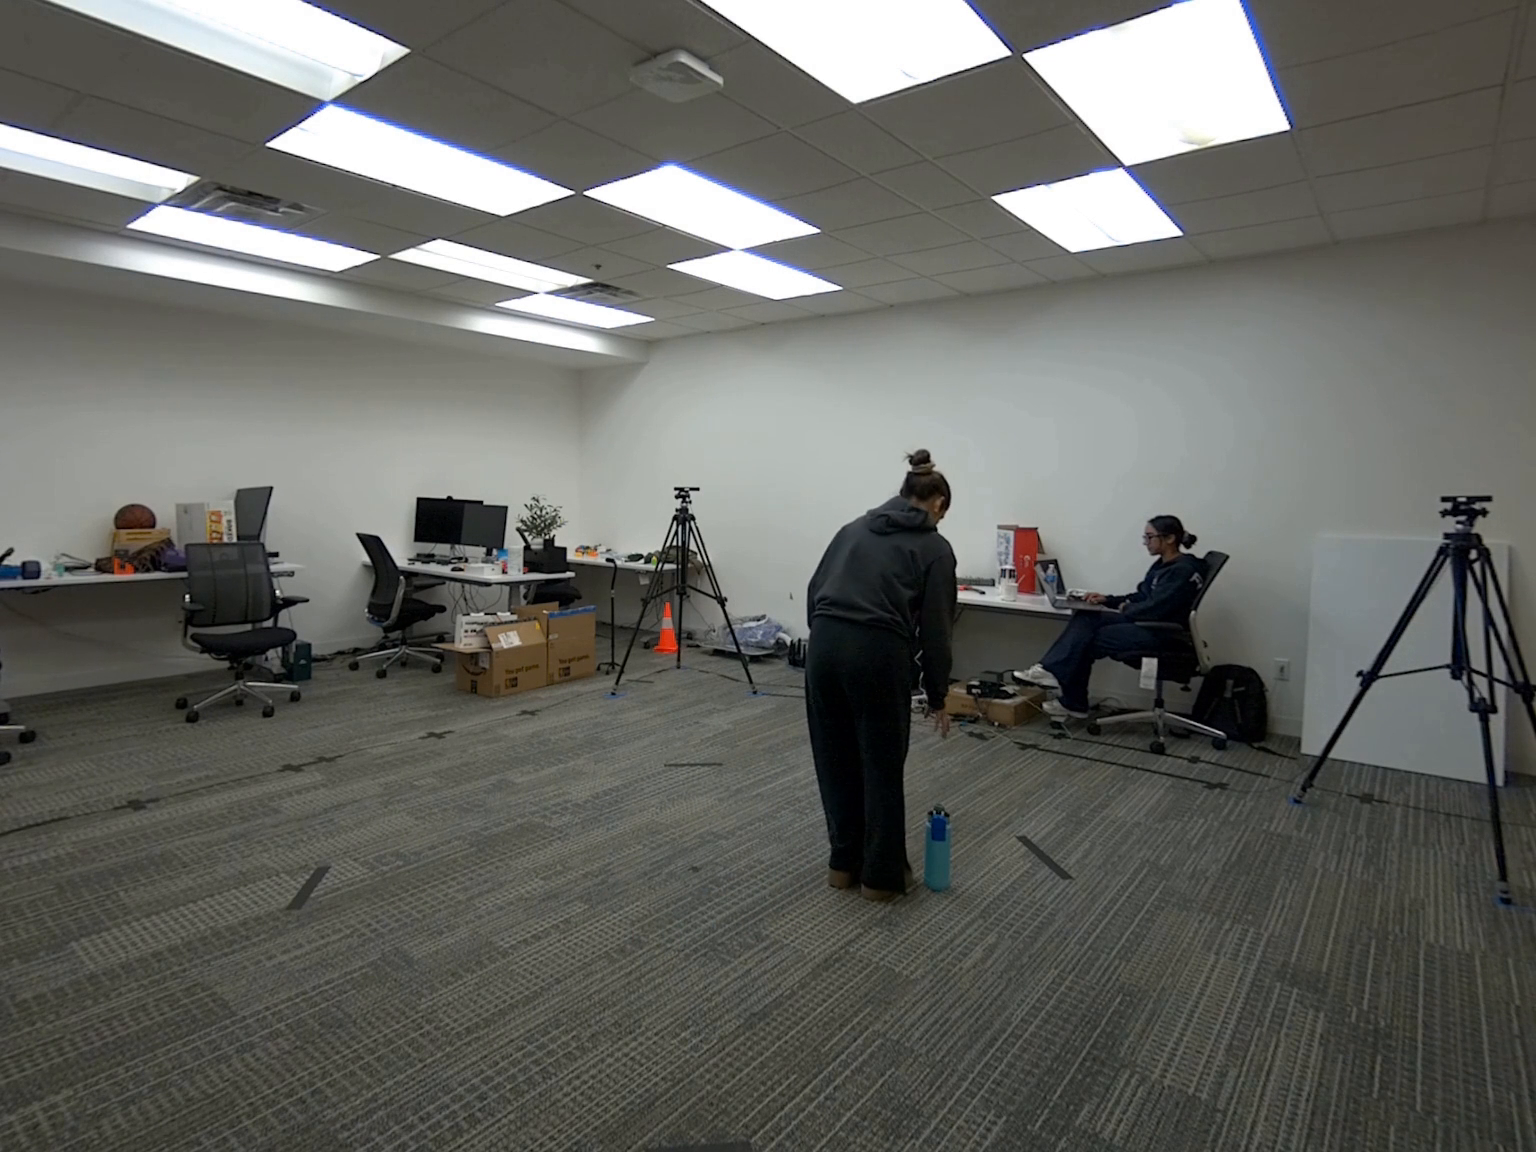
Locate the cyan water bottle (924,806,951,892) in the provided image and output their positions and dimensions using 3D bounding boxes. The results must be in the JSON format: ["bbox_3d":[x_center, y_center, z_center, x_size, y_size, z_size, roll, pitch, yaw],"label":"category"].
[{"bbox_3d":[0.606,0.954,3.012,0.092,0.282,0.093,1,5,-2],"label":"cyan water bottle"}]
